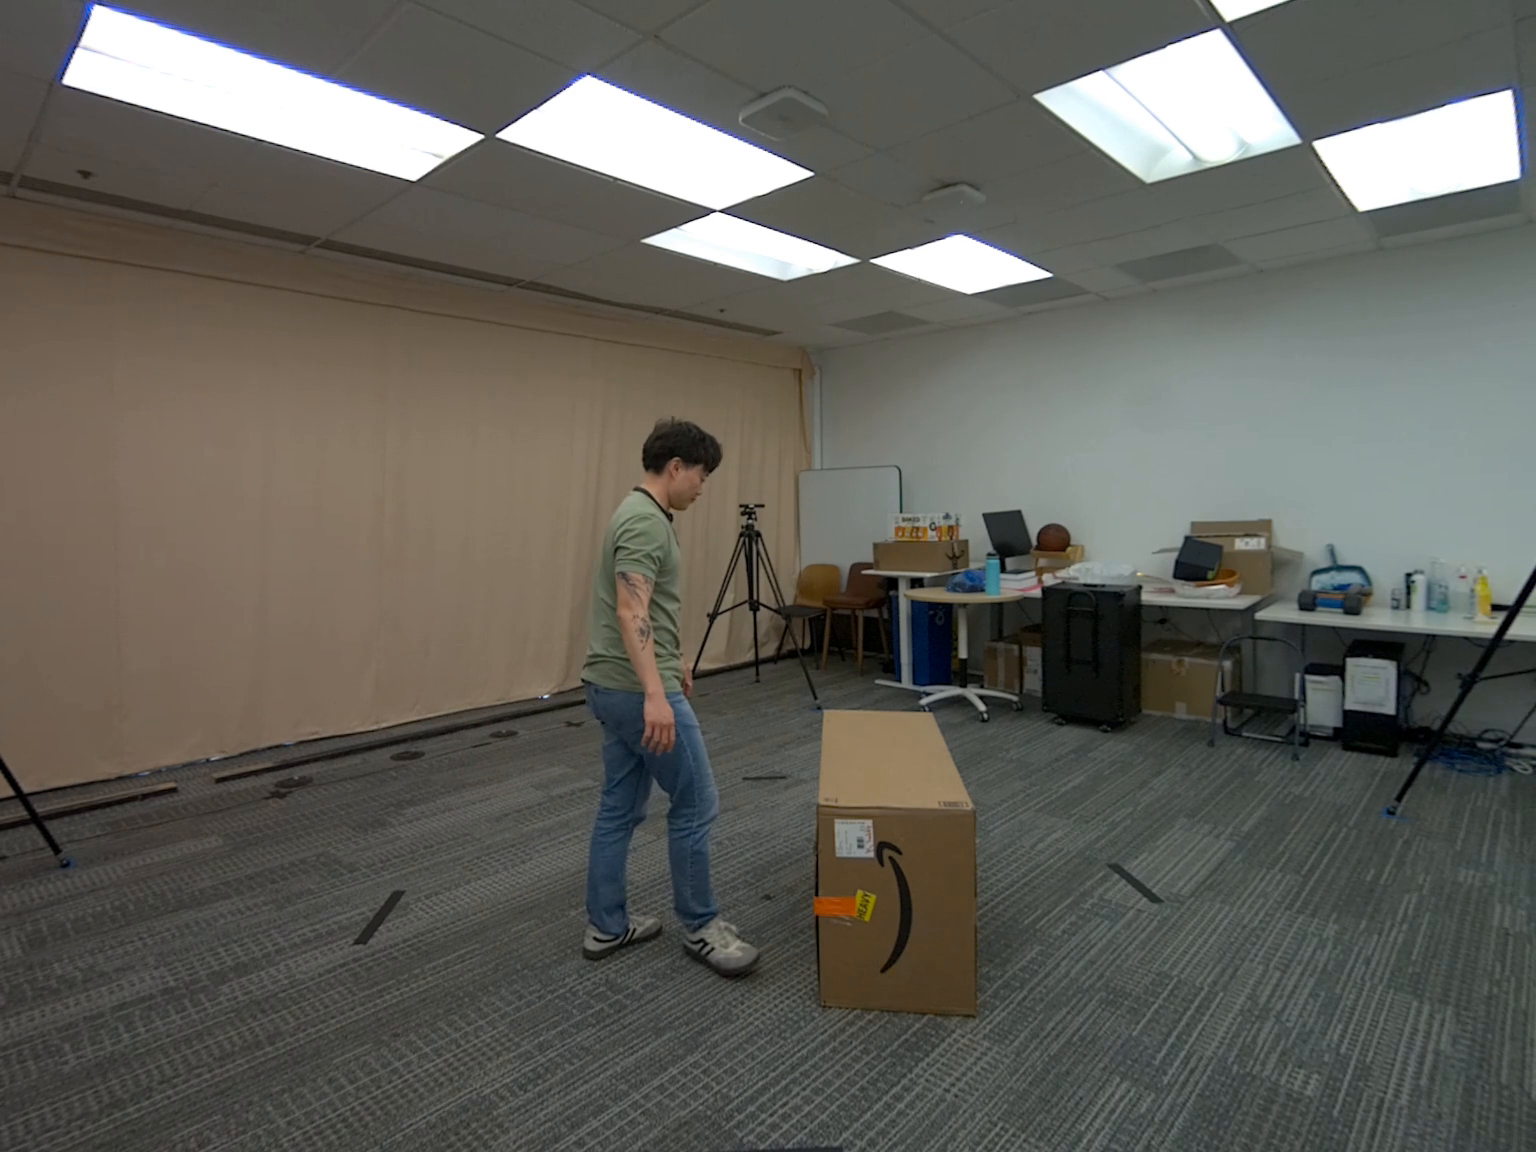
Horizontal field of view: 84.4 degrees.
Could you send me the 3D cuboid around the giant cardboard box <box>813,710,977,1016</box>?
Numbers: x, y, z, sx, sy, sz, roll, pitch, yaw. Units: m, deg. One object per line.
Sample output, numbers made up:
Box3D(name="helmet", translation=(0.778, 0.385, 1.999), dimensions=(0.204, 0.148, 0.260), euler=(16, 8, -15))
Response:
Box3D(name="giant cardboard box", translation=(0.390, 0.858, 2.787), dimensions=(0.429, 0.576, 1.021), euler=(-1, 5, 5))
